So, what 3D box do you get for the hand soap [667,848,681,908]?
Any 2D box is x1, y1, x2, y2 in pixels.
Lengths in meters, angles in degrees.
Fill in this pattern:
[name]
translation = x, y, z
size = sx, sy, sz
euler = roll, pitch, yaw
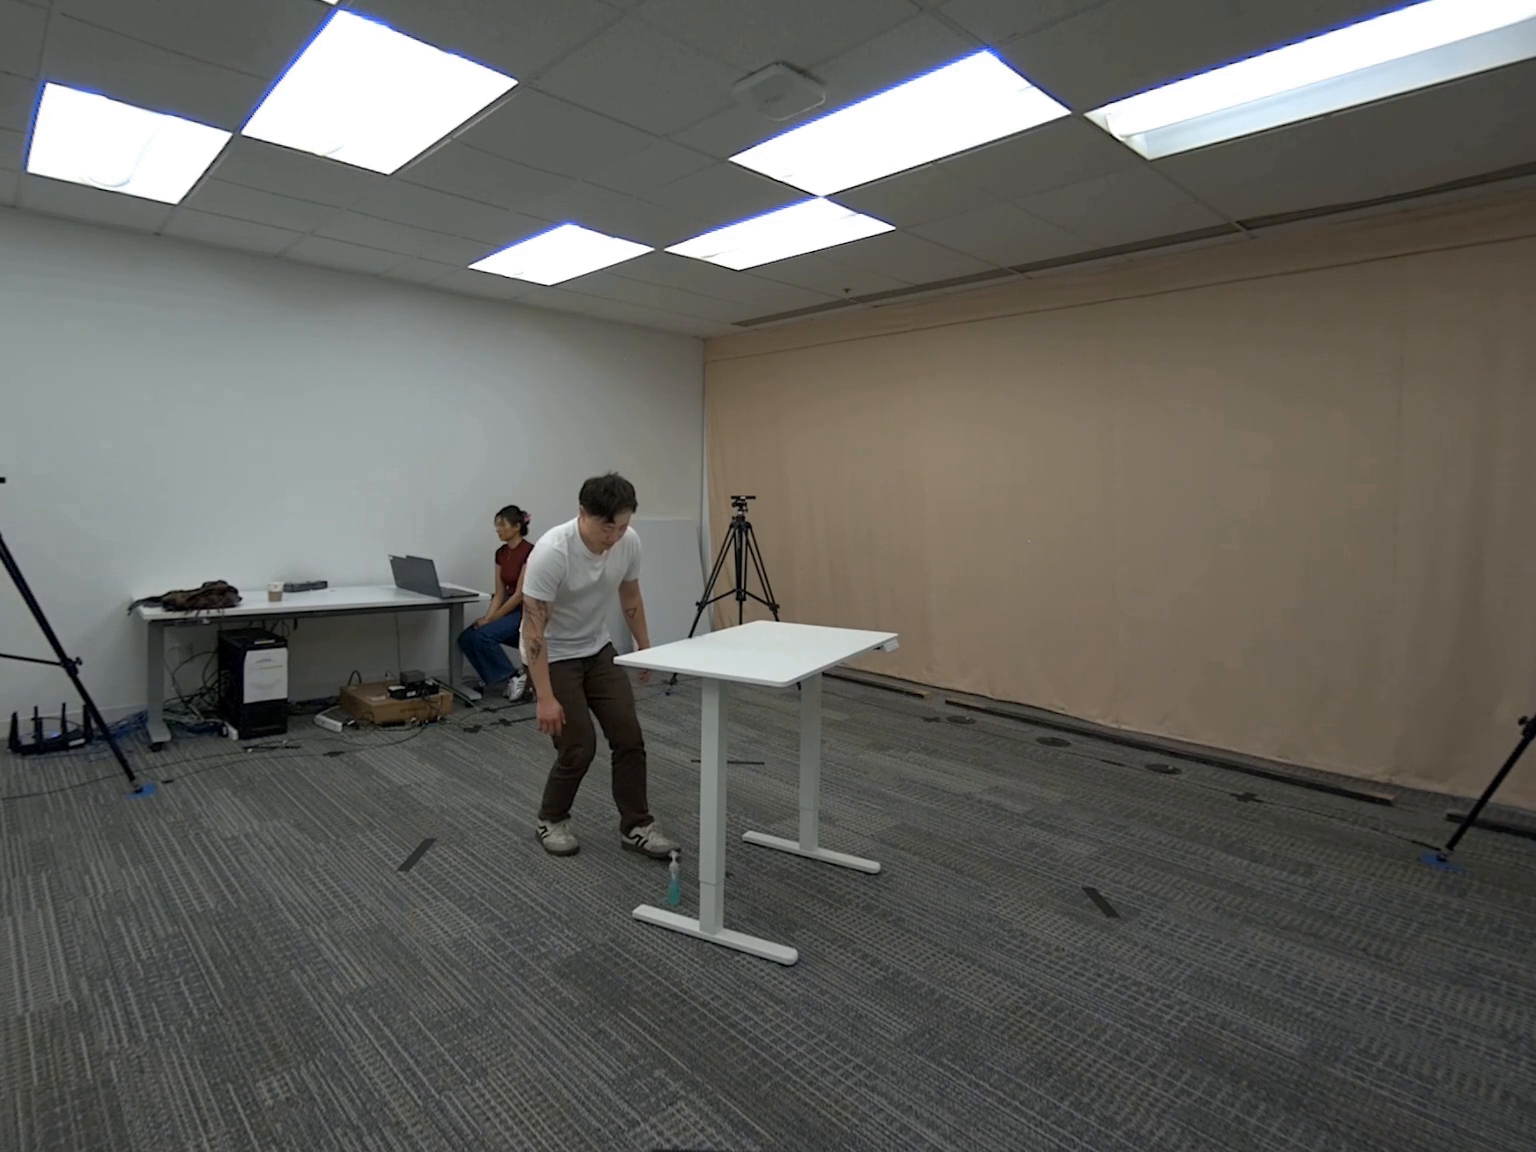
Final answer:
[hand soap]
translation = -0.330, 1.039, 2.886
size = 0.043, 0.168, 0.085
euler = -1, 4, -2
